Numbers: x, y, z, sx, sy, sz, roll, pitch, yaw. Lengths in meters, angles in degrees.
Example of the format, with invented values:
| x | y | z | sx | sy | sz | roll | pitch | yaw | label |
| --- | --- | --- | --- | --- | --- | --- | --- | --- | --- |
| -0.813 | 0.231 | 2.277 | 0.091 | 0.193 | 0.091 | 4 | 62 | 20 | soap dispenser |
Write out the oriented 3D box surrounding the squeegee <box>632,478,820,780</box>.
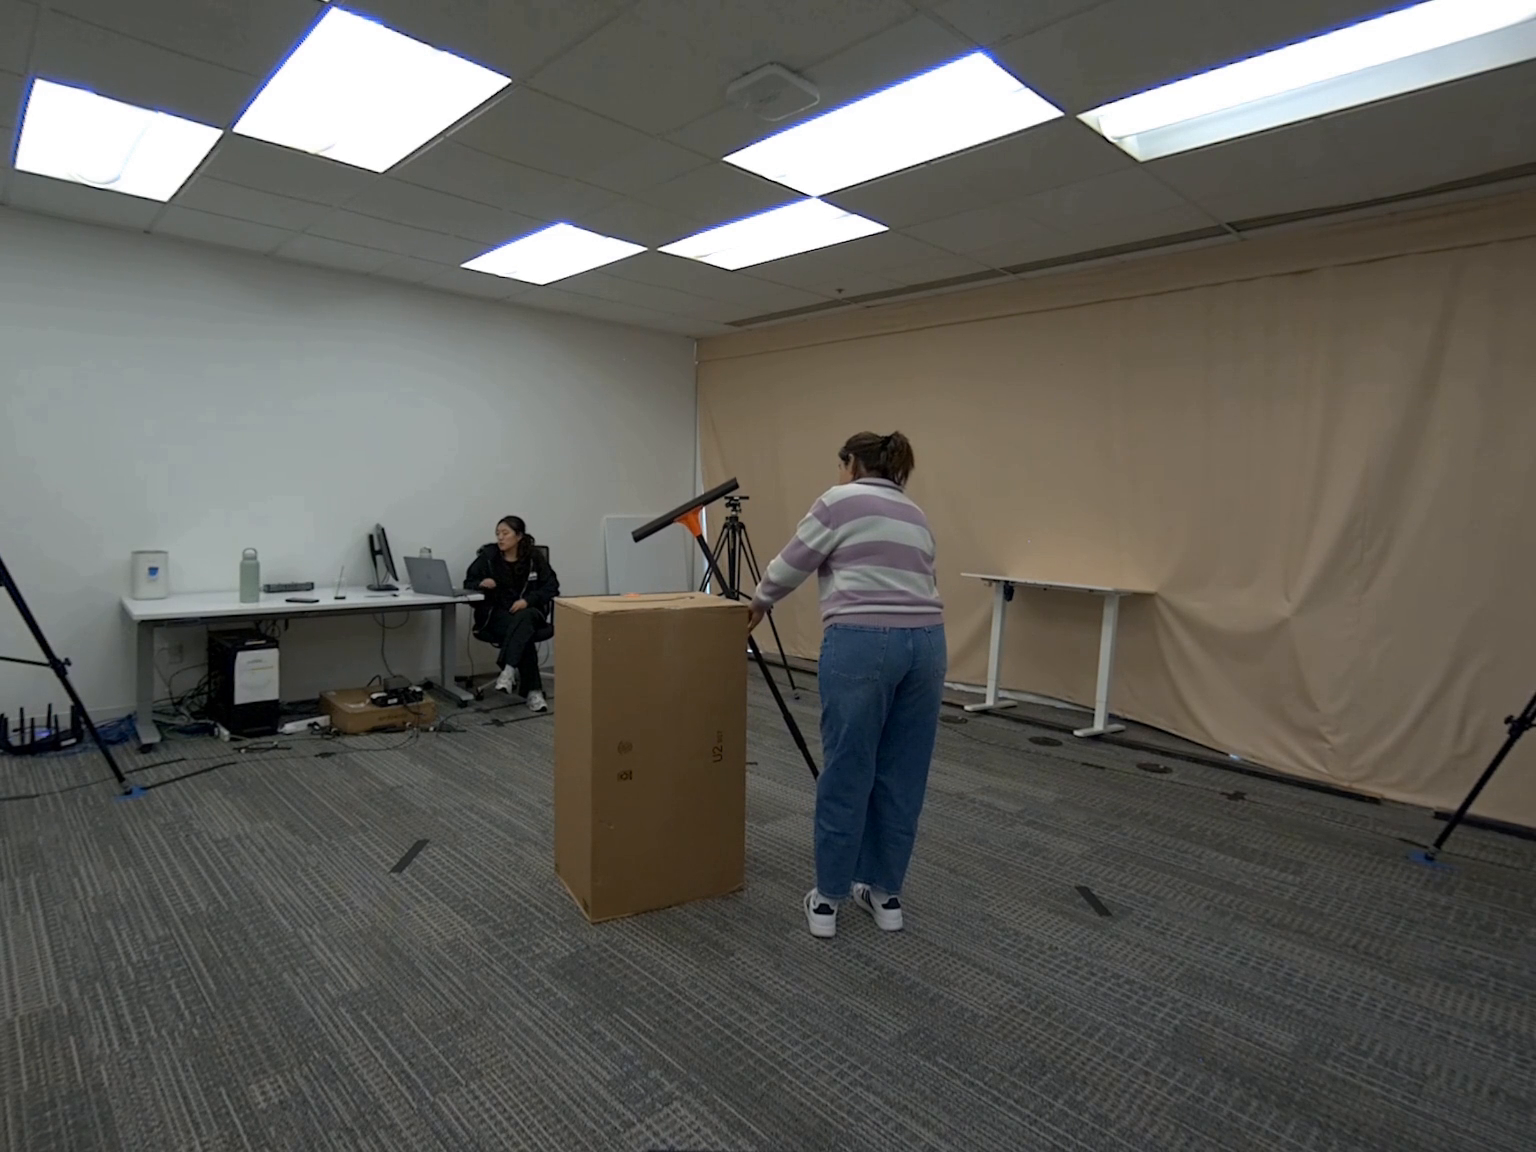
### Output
| x | y | z | sx | sy | sz | roll | pitch | yaw | label |
| --- | --- | --- | --- | --- | --- | --- | --- | --- | --- |
| 0.007 | 0.413 | 3.172 | 0.436 | 1.516 | 0.054 | -27 | 14 | -8 | squeegee |
